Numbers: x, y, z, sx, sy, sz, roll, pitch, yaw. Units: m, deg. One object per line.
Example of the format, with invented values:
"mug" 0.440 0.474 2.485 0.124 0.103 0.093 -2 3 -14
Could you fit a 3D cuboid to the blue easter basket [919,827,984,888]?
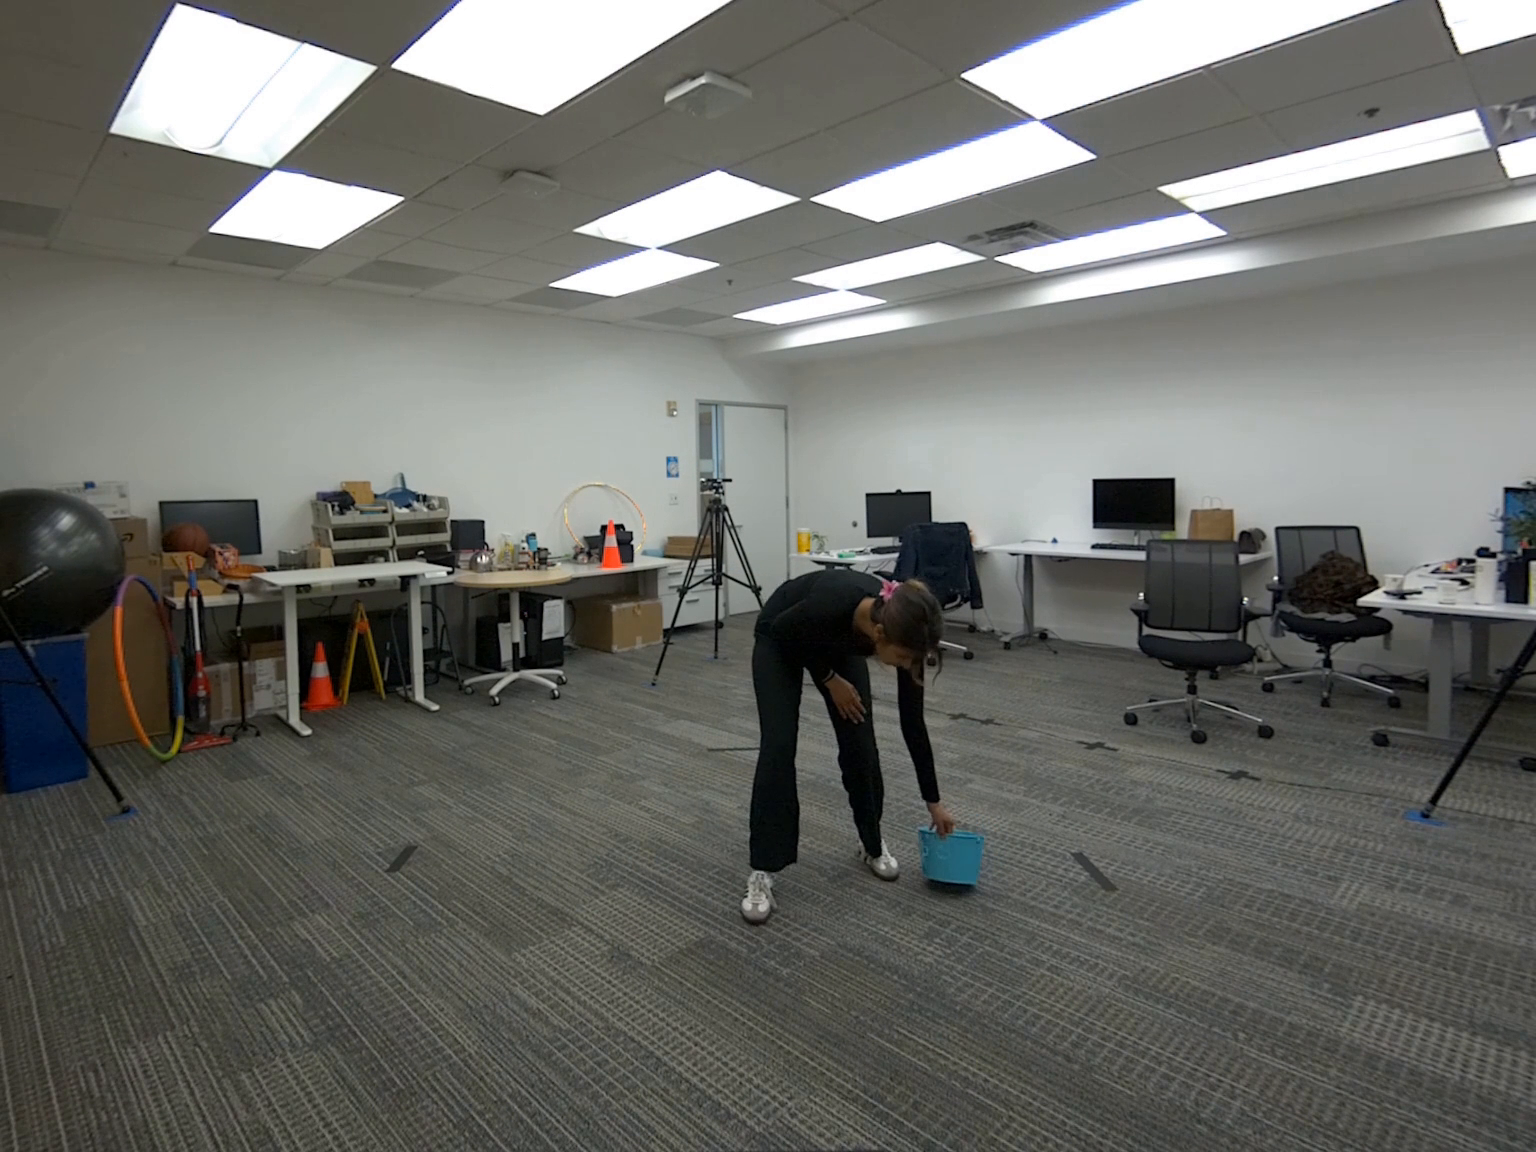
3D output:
"blue easter basket" 0.612 0.950 2.916 0.243 0.157 0.241 4 -10 -1
